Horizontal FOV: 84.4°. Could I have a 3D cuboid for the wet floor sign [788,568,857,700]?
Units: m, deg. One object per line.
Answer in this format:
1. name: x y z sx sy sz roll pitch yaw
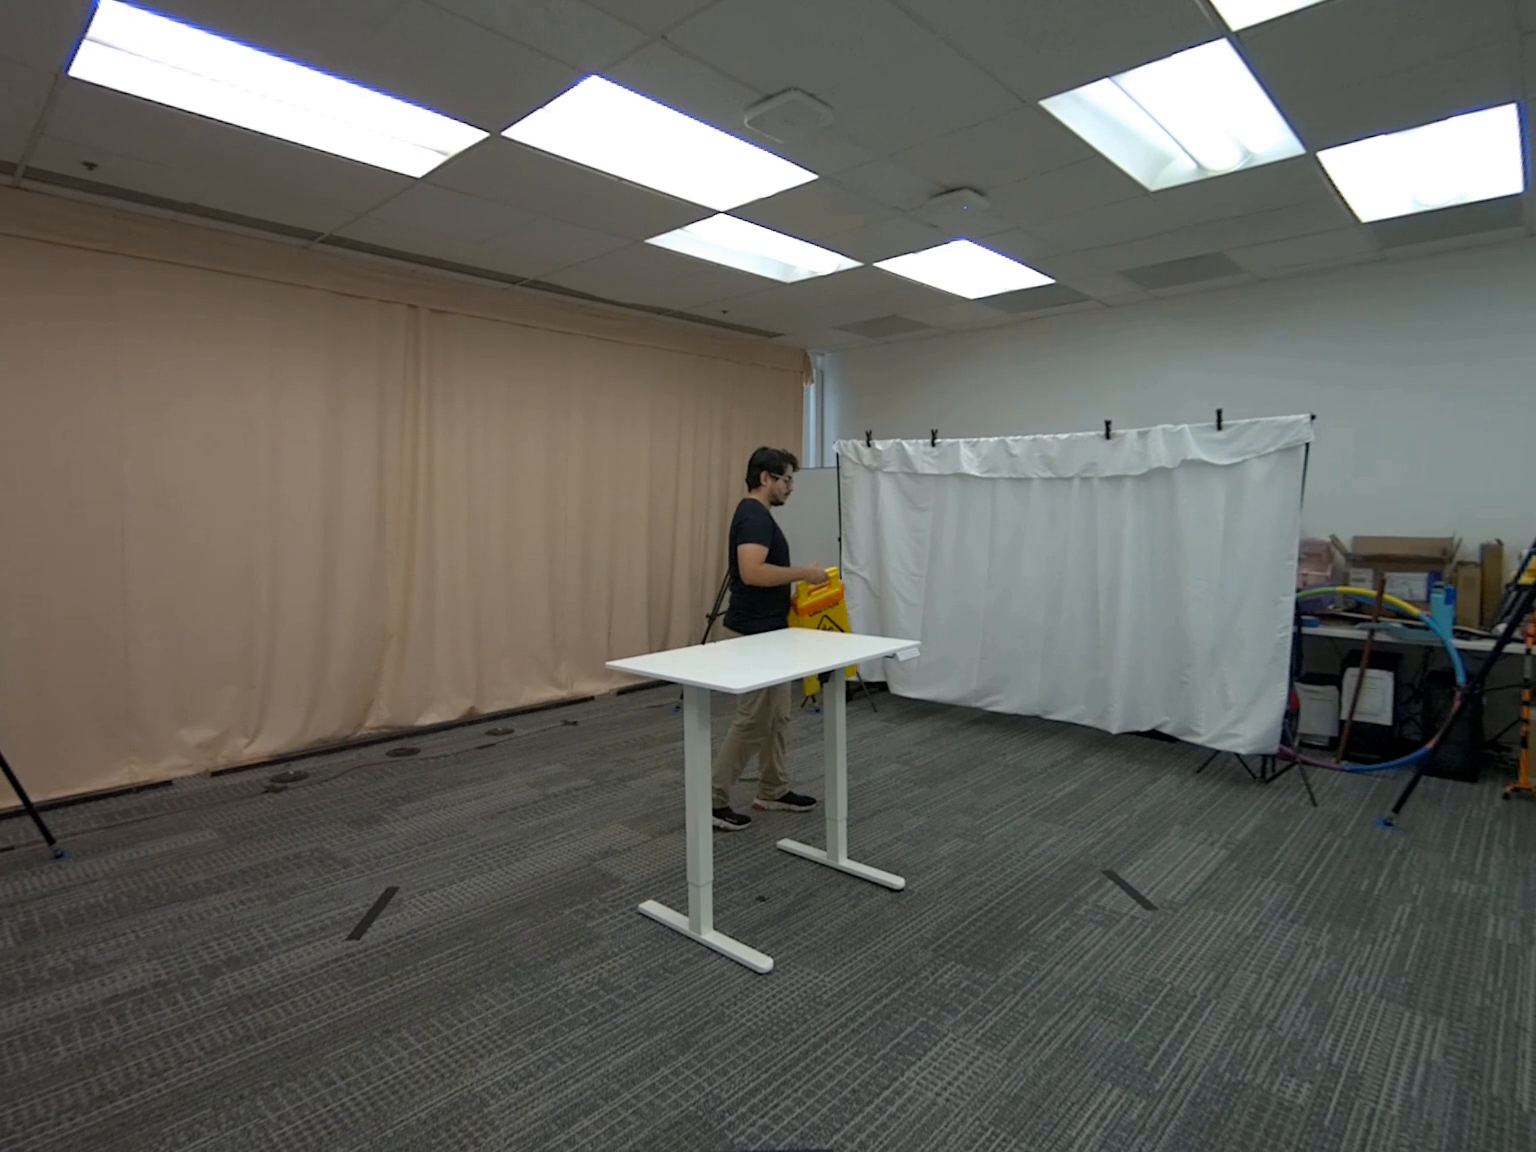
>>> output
1. wet floor sign: 0.229 0.206 3.837 0.280 0.632 0.299 -21 52 -12
